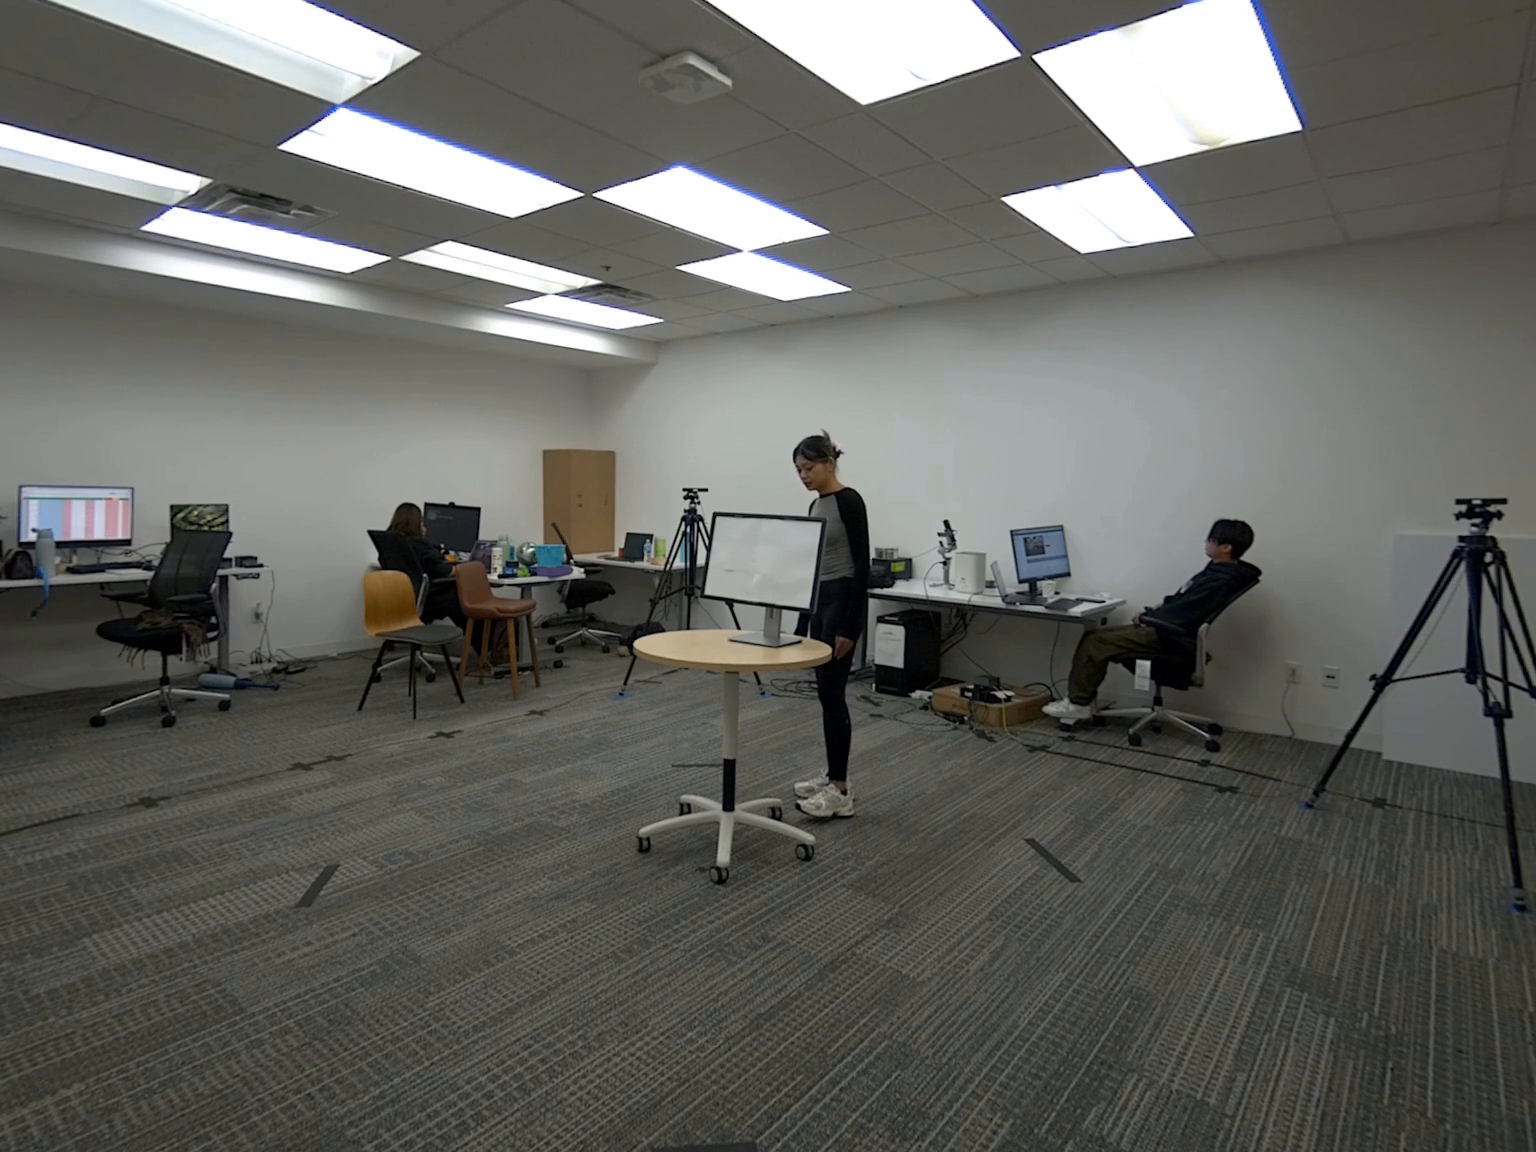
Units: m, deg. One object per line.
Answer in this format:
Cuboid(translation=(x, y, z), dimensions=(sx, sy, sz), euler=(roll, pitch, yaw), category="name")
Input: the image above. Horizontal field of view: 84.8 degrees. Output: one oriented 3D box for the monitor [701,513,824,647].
Cuboid(translation=(-0.012, 0.013, 3.391), dimensions=(0.557, 0.520, 0.182), euler=(4, 7, 37), category="monitor")
